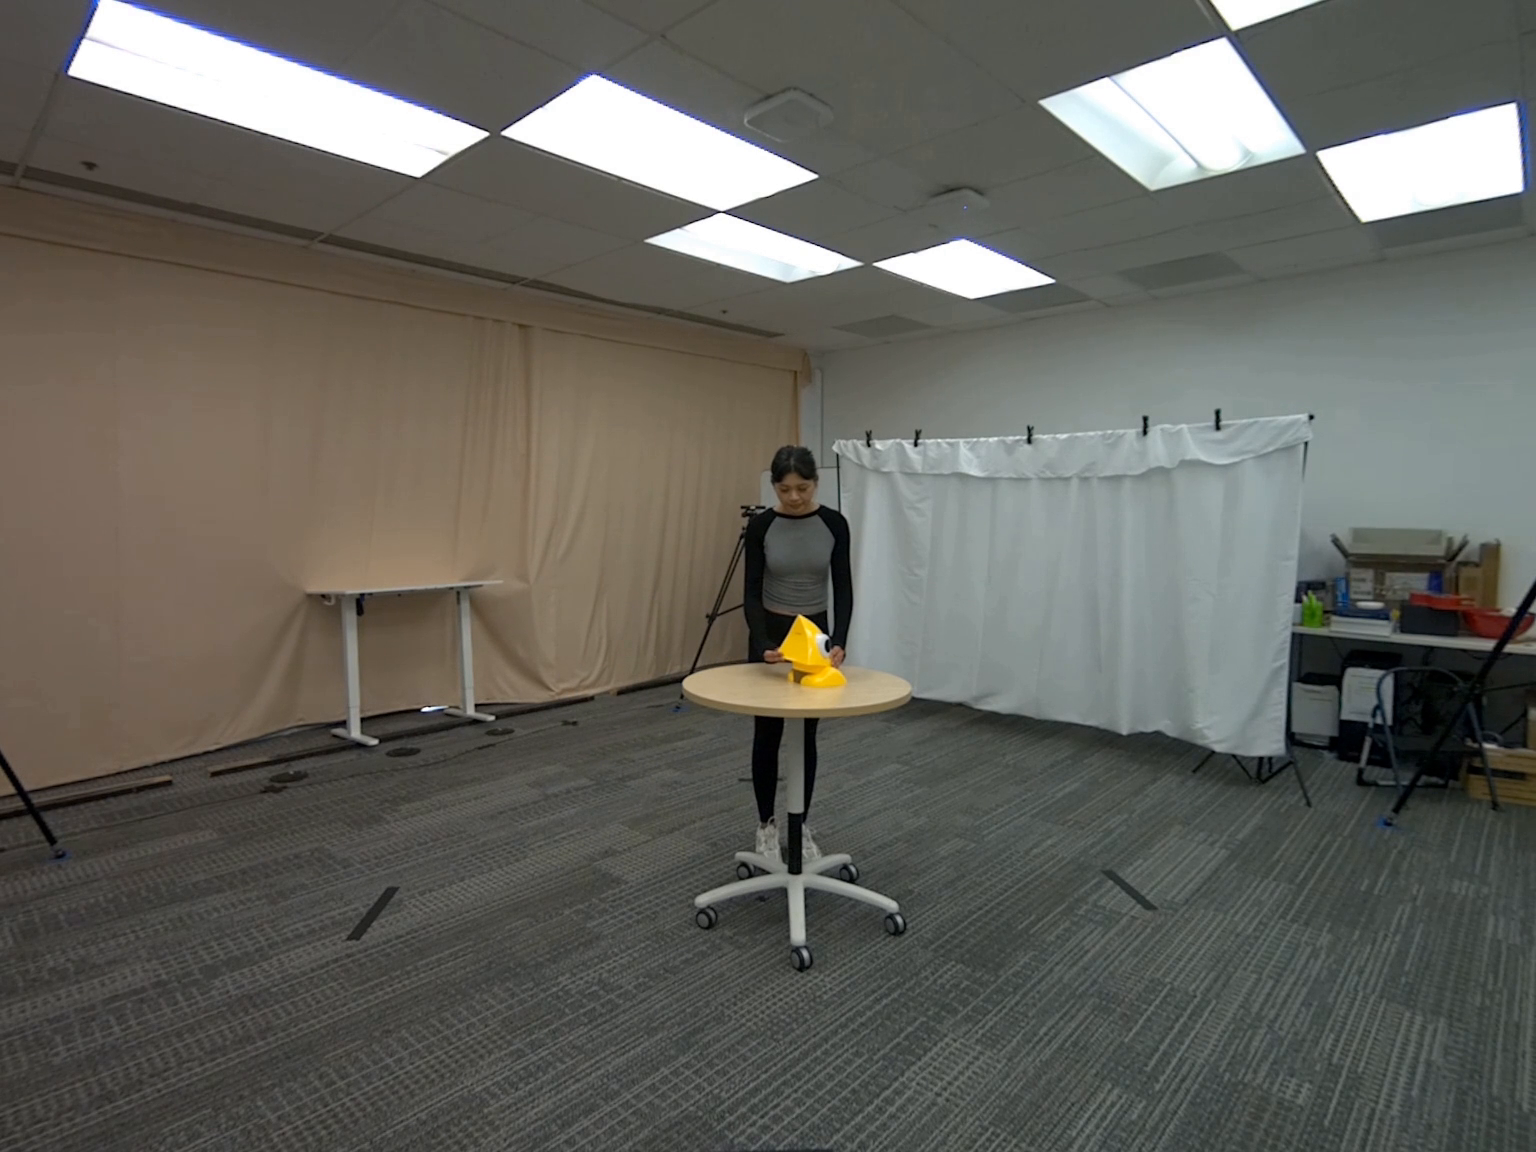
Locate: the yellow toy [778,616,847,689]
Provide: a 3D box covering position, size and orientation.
[{"bbox_3d":[0.158,0.245,2.874,0.188,0.230,0.211,0,4,-29],"label":"yellow toy"}]
